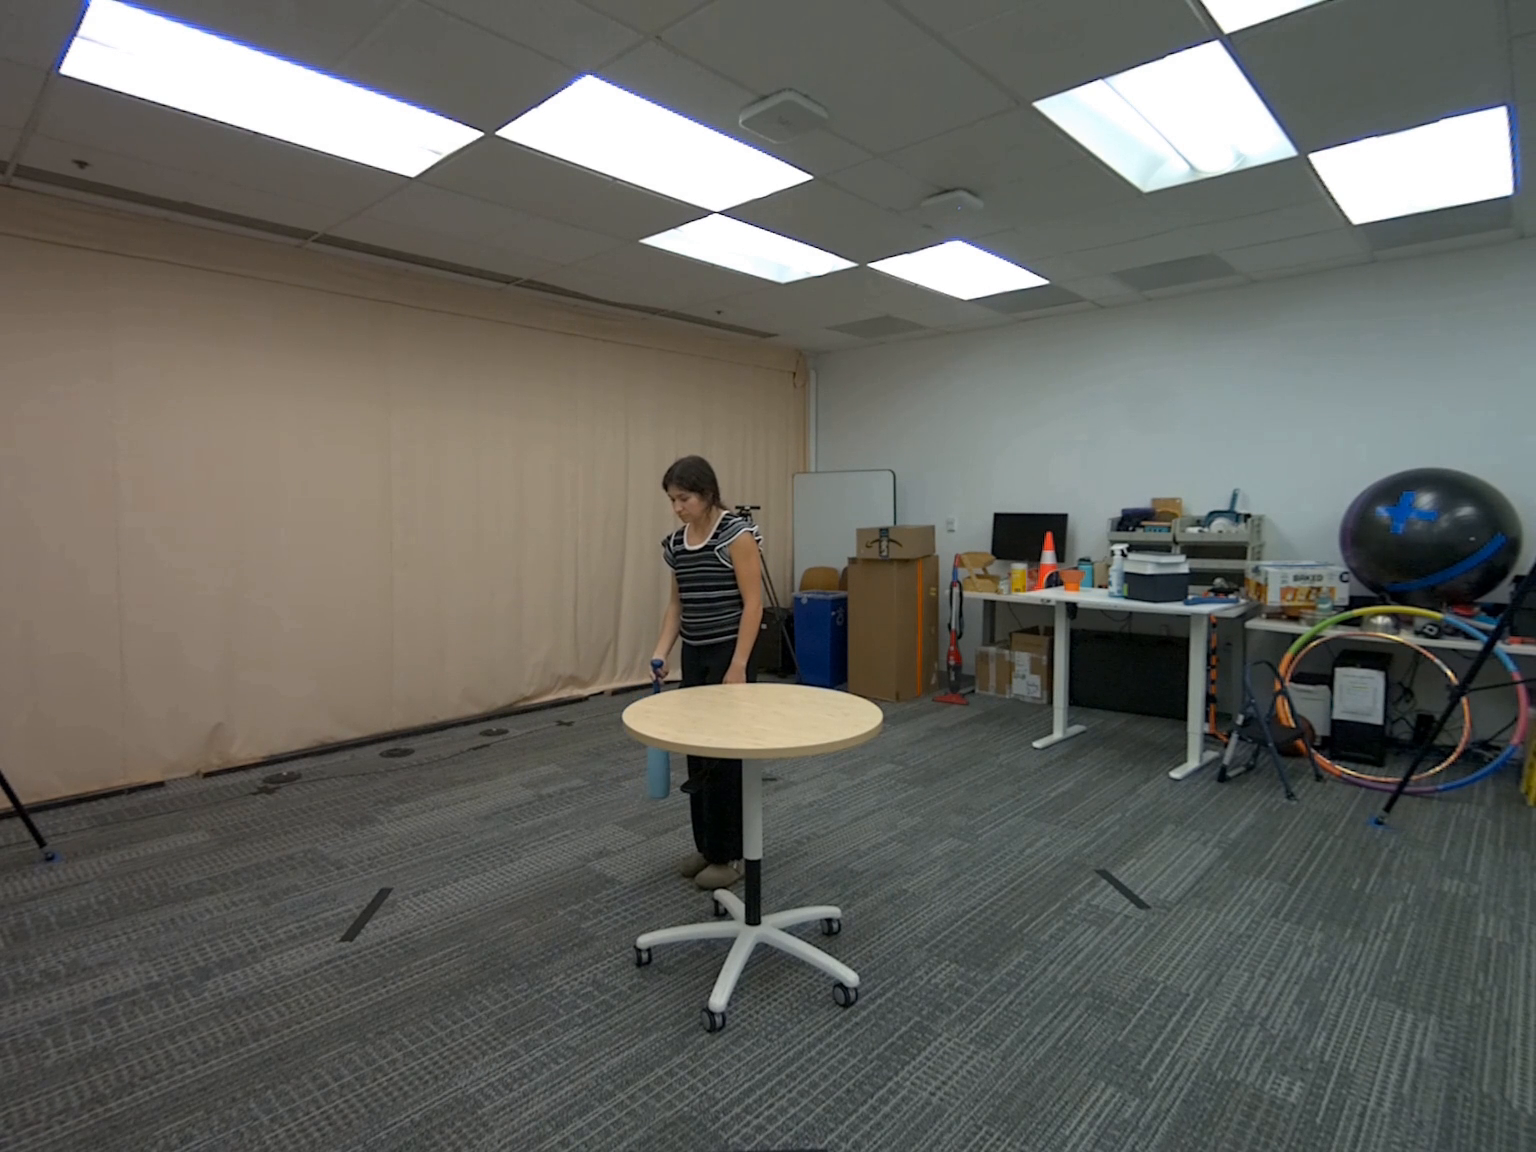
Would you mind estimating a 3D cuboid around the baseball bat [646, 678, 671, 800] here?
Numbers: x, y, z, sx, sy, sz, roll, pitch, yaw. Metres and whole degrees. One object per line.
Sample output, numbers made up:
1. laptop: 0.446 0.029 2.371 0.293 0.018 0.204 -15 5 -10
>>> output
1. baseball bat: -0.438 0.592 3.222 0.089 0.540 0.089 -1 7 -2
